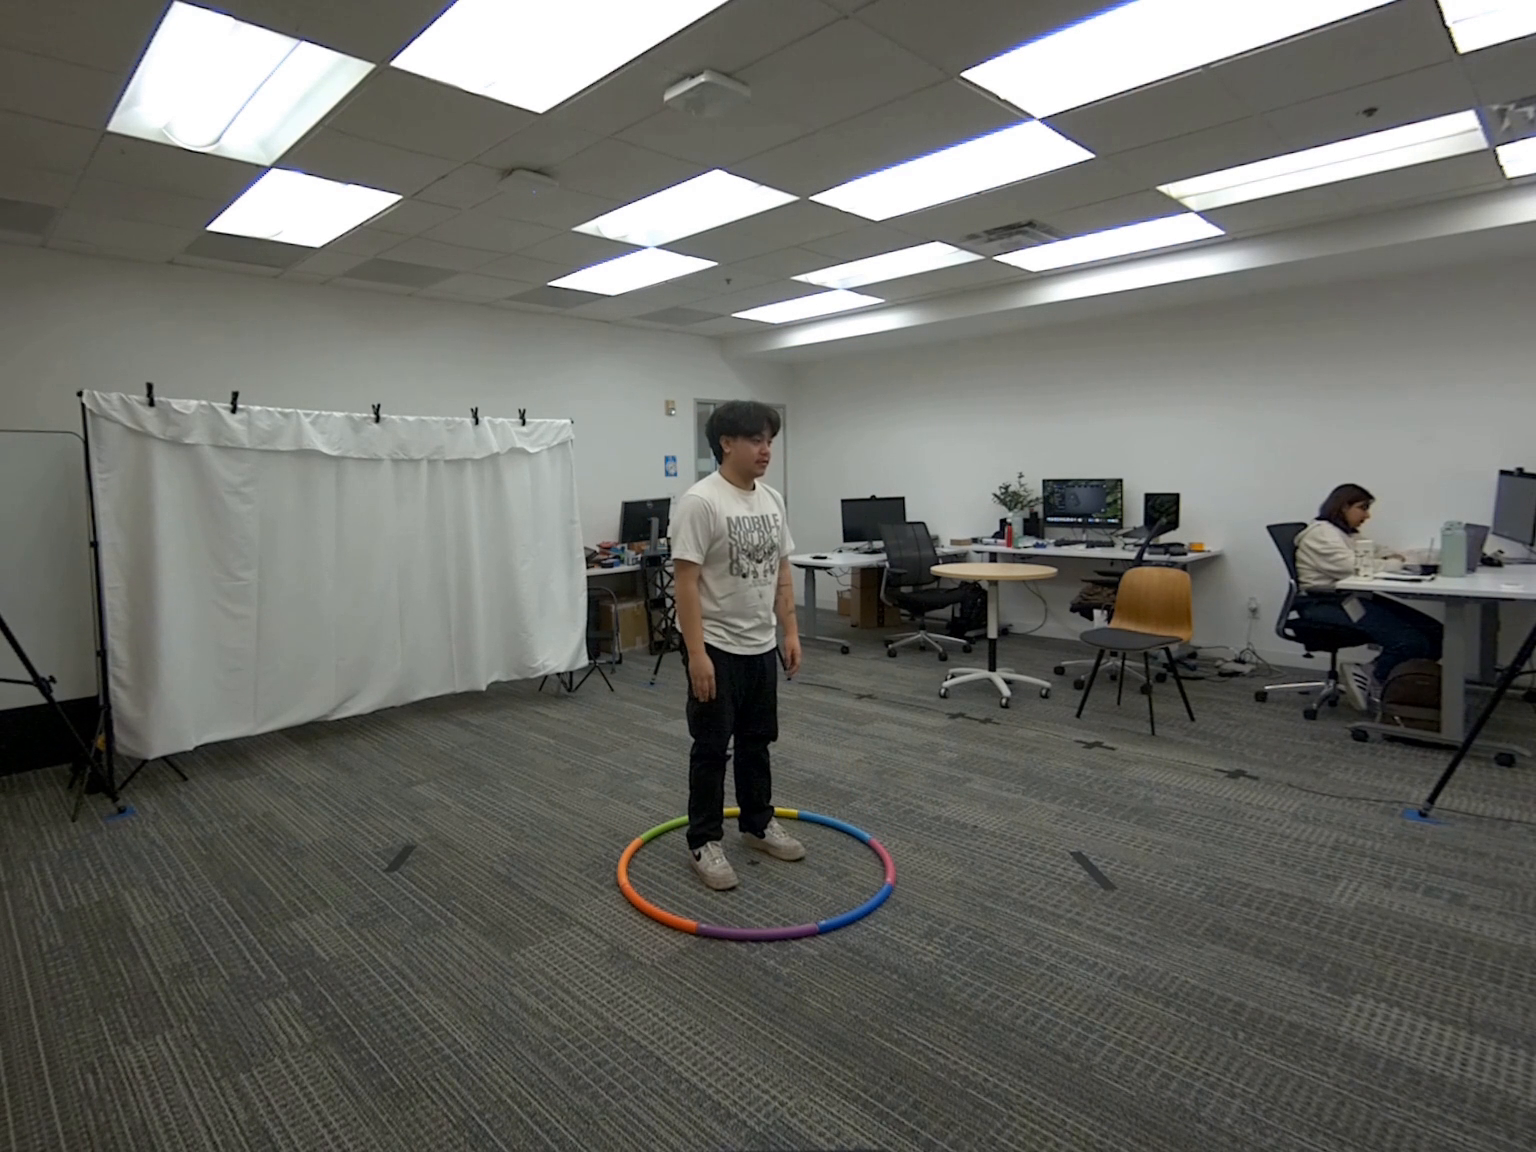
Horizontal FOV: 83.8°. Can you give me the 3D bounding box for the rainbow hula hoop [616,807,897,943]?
[{"bbox_3d":[-0.047,1.021,3.062,0.985,0.051,0.991,-1,7,-2],"label":"rainbow hula hoop"}]
